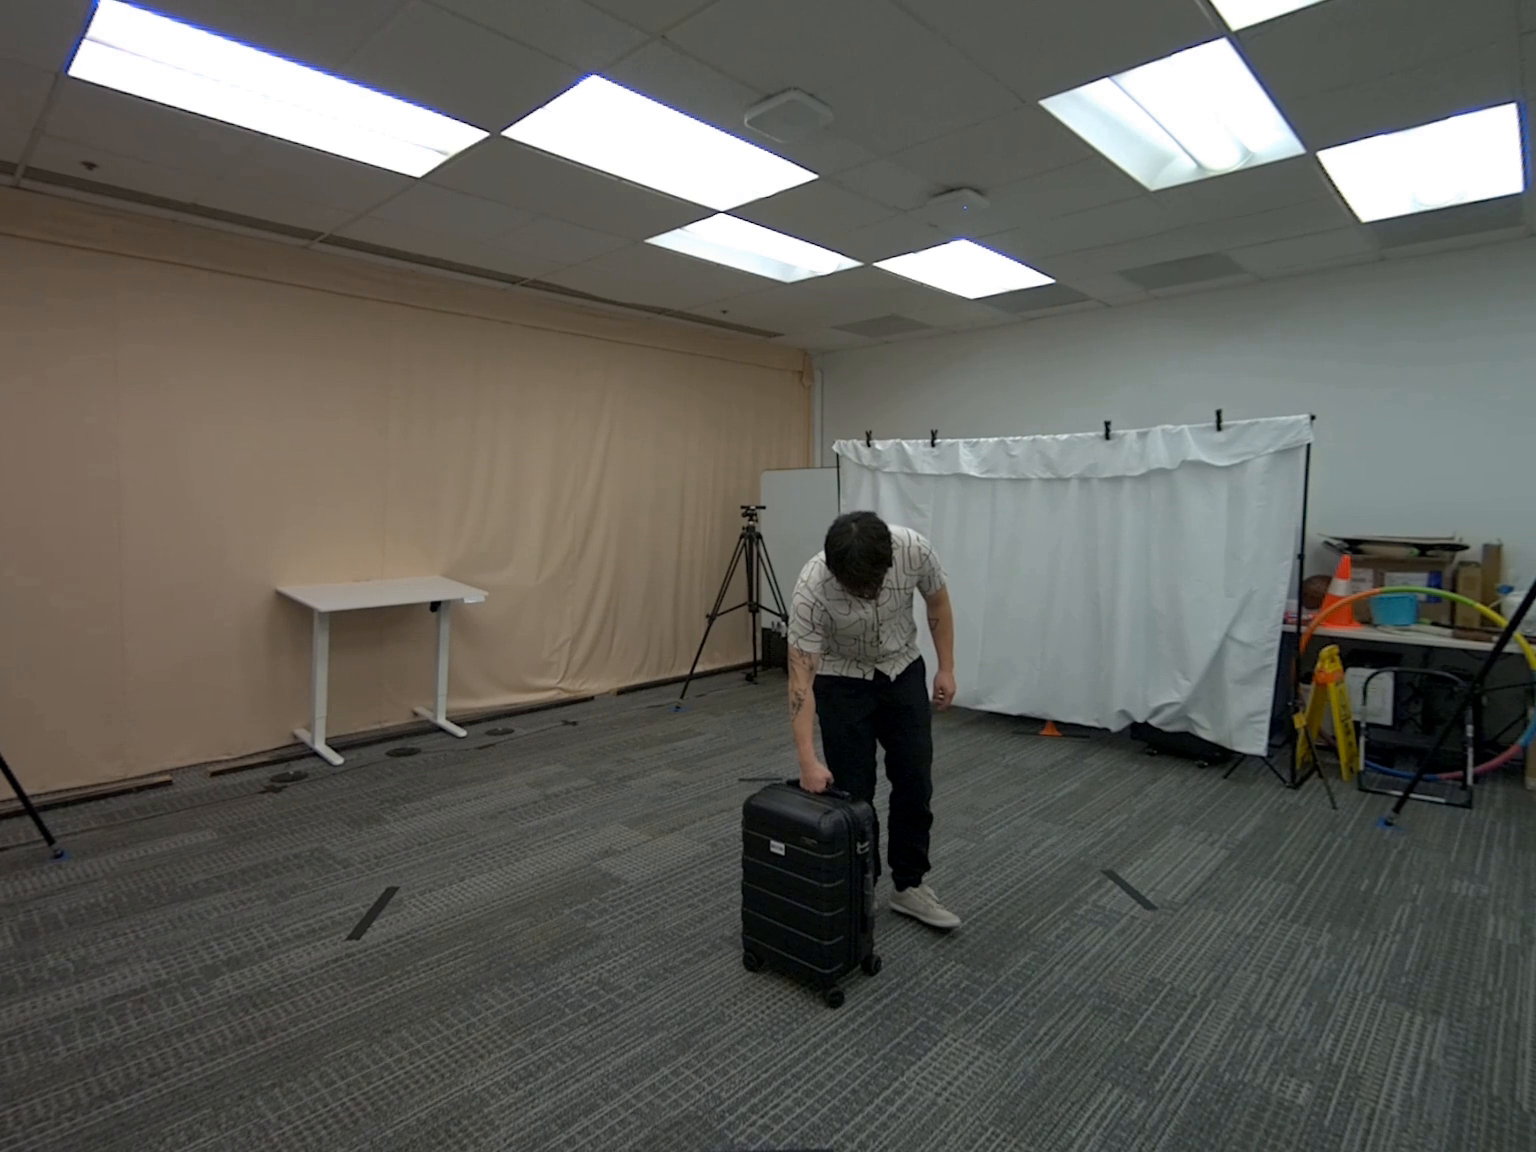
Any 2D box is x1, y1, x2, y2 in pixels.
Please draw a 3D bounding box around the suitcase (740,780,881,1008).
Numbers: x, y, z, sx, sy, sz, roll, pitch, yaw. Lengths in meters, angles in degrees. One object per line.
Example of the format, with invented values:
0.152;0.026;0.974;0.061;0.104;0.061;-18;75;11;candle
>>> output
0.124;0.905;2.504;0.388;0.548;0.241;2;4;41;suitcase
